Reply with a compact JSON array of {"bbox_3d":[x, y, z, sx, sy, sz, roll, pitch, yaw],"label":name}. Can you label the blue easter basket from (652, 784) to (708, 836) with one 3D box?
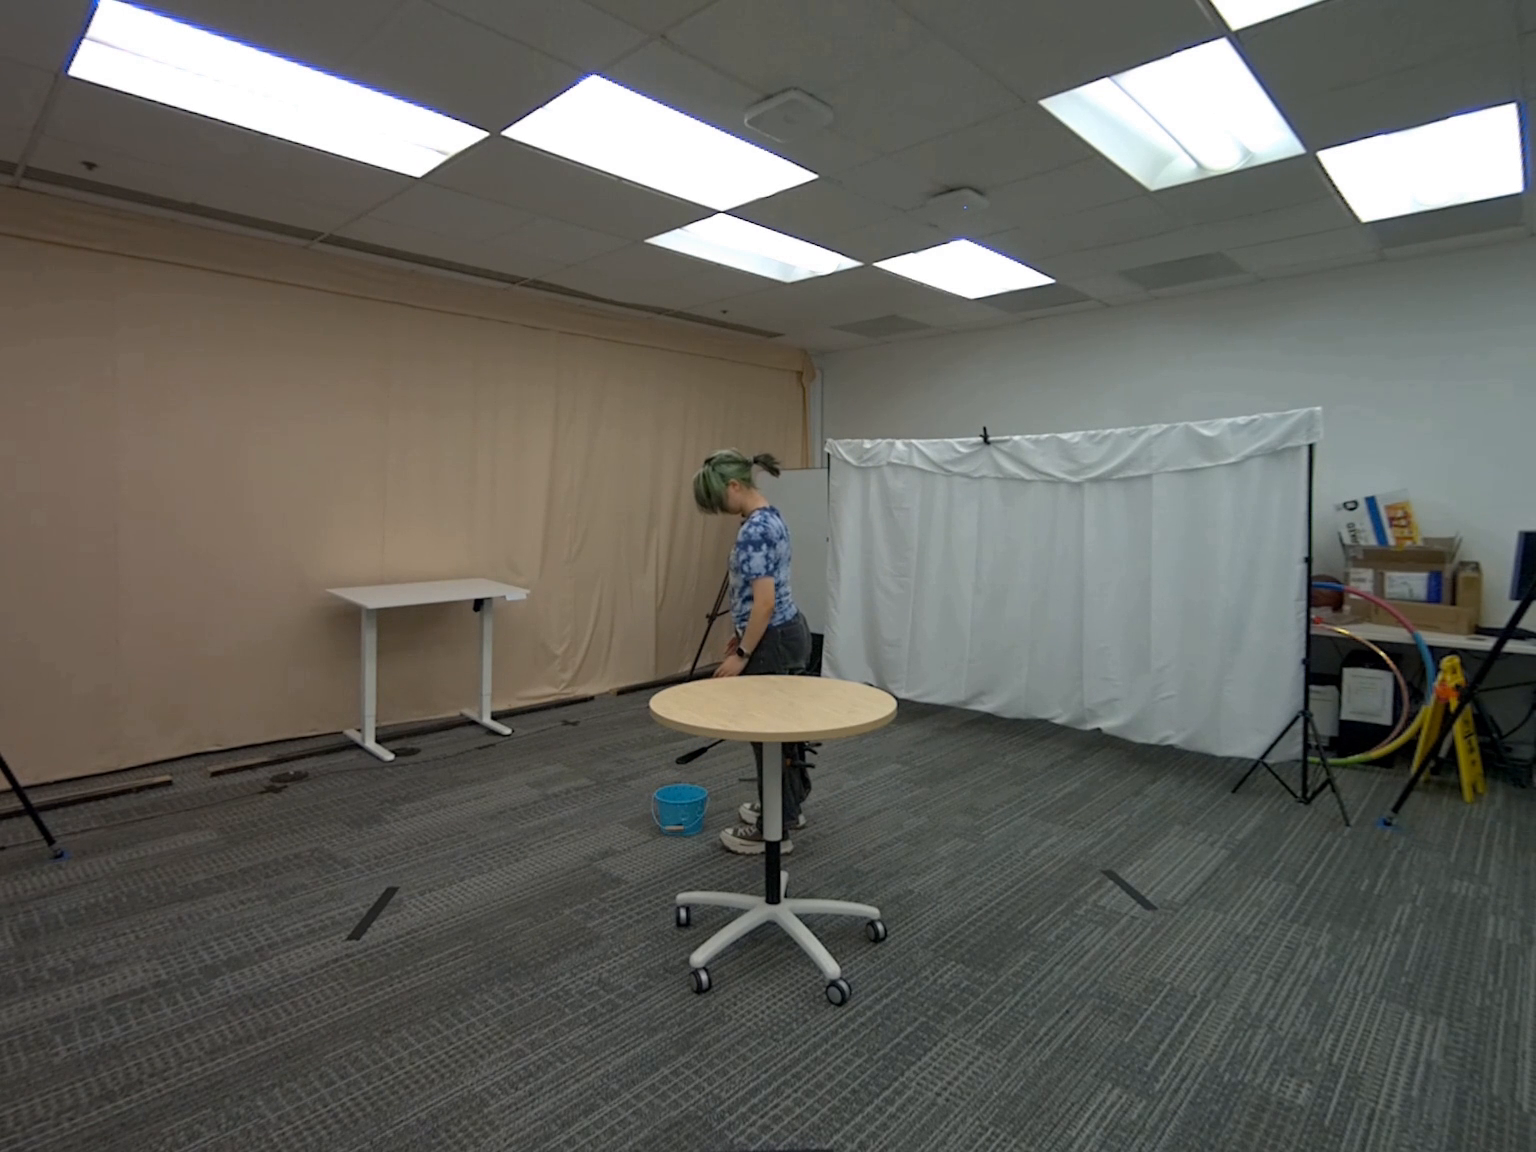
[{"bbox_3d":[-0.385,1.014,3.647,0.243,0.155,0.244,-1,4,-2],"label":"blue easter basket"}]
